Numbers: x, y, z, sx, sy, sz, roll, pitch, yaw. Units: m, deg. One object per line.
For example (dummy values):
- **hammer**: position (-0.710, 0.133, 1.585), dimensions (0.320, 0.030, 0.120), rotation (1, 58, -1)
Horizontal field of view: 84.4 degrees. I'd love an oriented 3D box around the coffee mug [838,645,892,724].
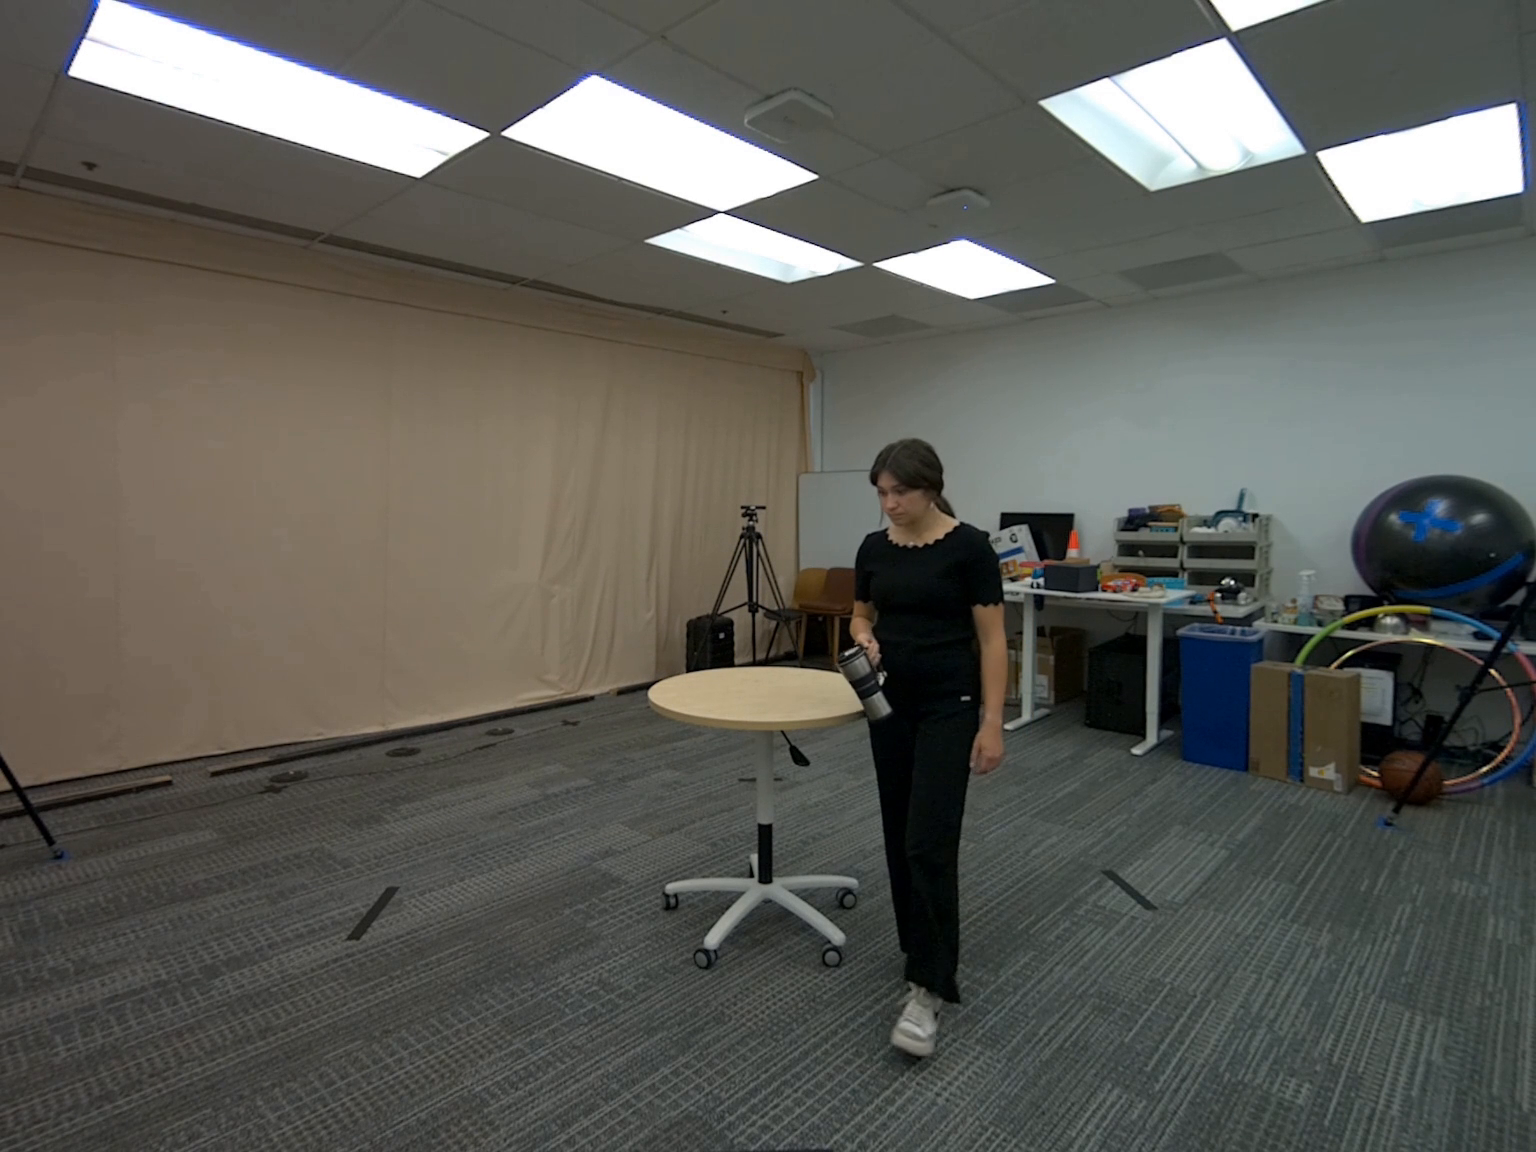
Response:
- **coffee mug**: position (0.293, 0.292, 2.284), dimensions (0.120, 0.203, 0.089), rotation (-28, -1, -28)
